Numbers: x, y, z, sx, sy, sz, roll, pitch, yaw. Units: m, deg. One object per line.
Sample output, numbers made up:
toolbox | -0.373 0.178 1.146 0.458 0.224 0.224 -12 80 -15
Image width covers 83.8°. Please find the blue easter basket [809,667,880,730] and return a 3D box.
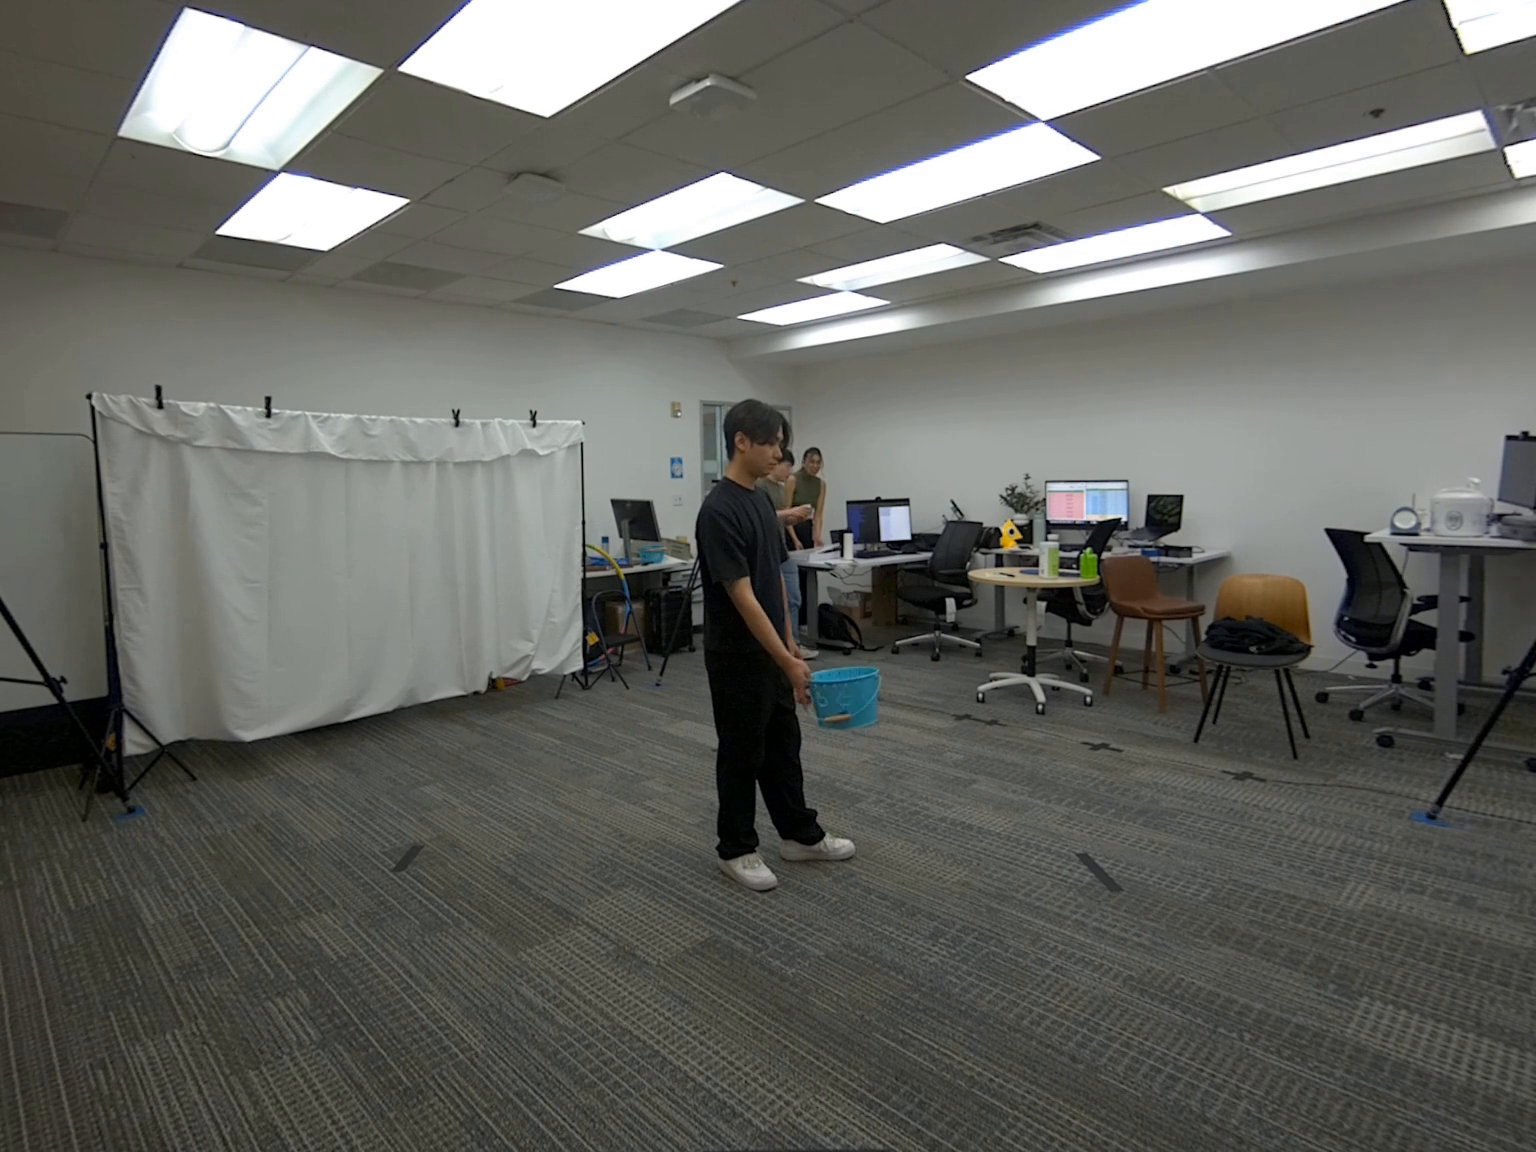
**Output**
blue easter basket | 0.228 0.379 2.649 0.243 0.156 0.244 -6 2 -2
